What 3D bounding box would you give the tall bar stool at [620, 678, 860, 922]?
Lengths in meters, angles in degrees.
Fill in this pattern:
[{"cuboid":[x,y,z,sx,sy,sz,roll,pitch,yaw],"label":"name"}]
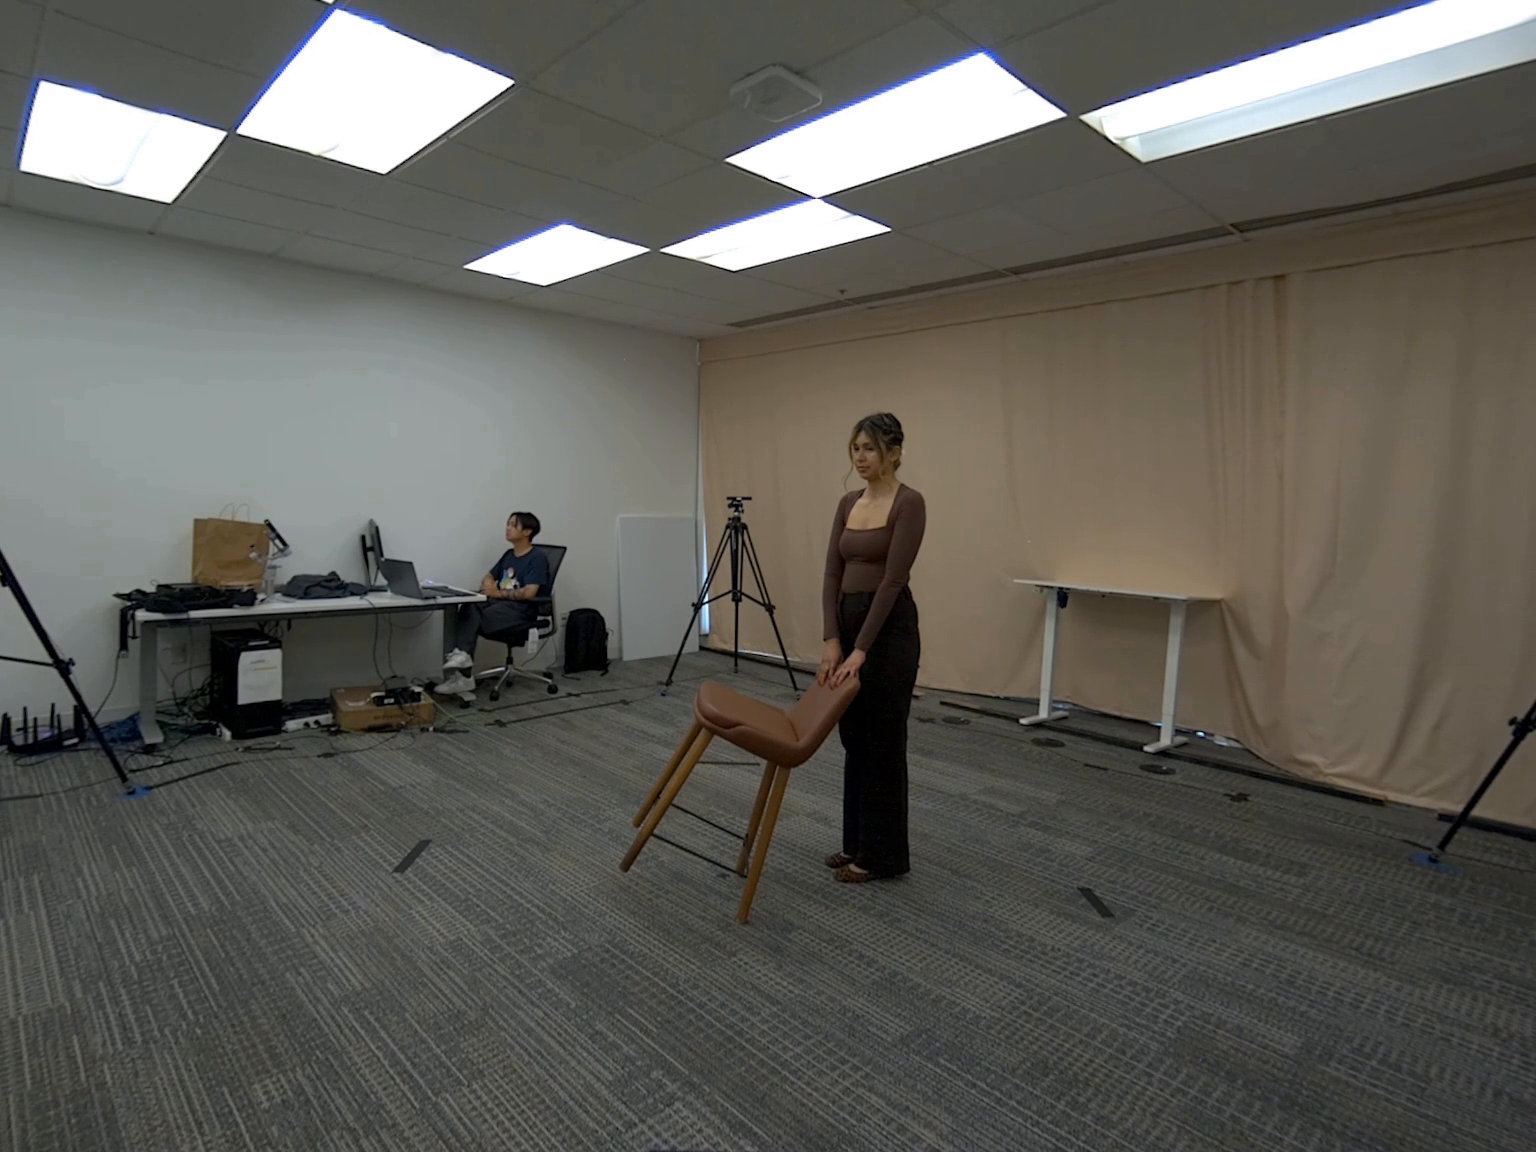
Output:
[{"cuboid":[-0.099,0.642,2.904,0.467,0.889,0.458,27,3,-3],"label":"tall bar stool"}]
